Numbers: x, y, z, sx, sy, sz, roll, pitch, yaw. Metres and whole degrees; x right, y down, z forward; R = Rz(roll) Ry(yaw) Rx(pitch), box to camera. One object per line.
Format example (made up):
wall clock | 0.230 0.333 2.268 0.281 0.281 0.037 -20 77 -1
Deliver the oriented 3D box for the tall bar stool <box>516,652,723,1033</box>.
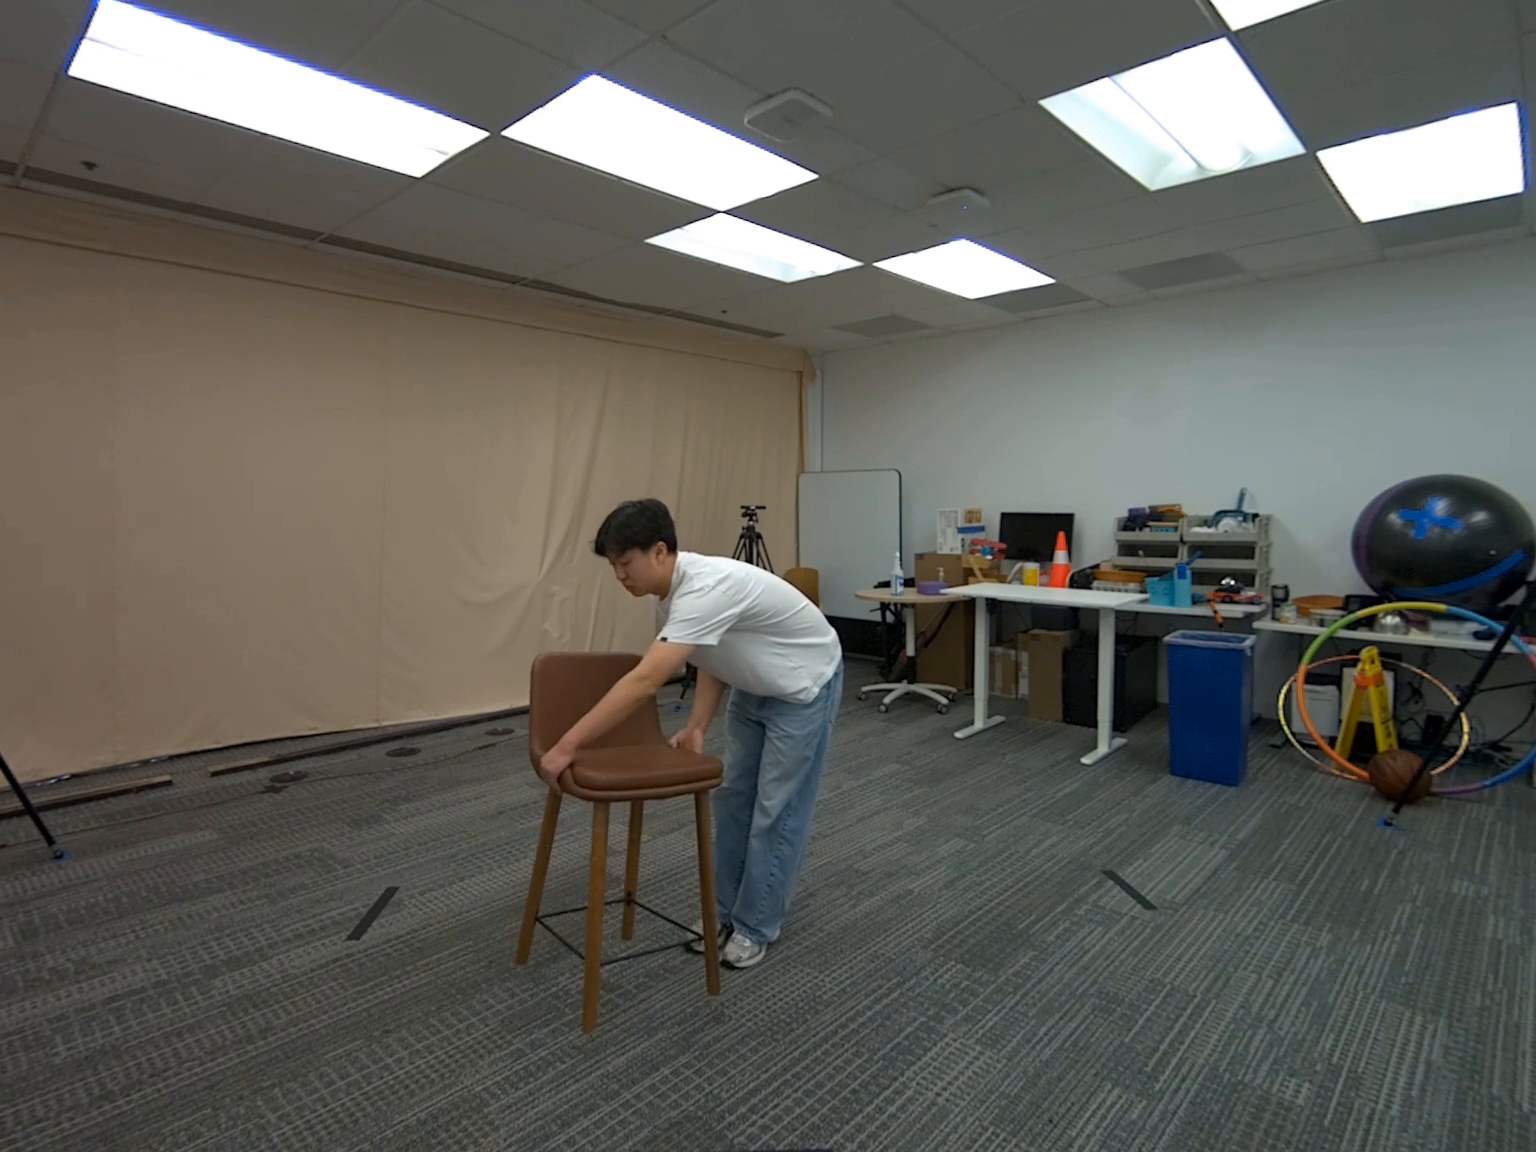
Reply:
tall bar stool | -0.412 0.685 2.322 0.442 0.892 0.482 5 -5 -38
